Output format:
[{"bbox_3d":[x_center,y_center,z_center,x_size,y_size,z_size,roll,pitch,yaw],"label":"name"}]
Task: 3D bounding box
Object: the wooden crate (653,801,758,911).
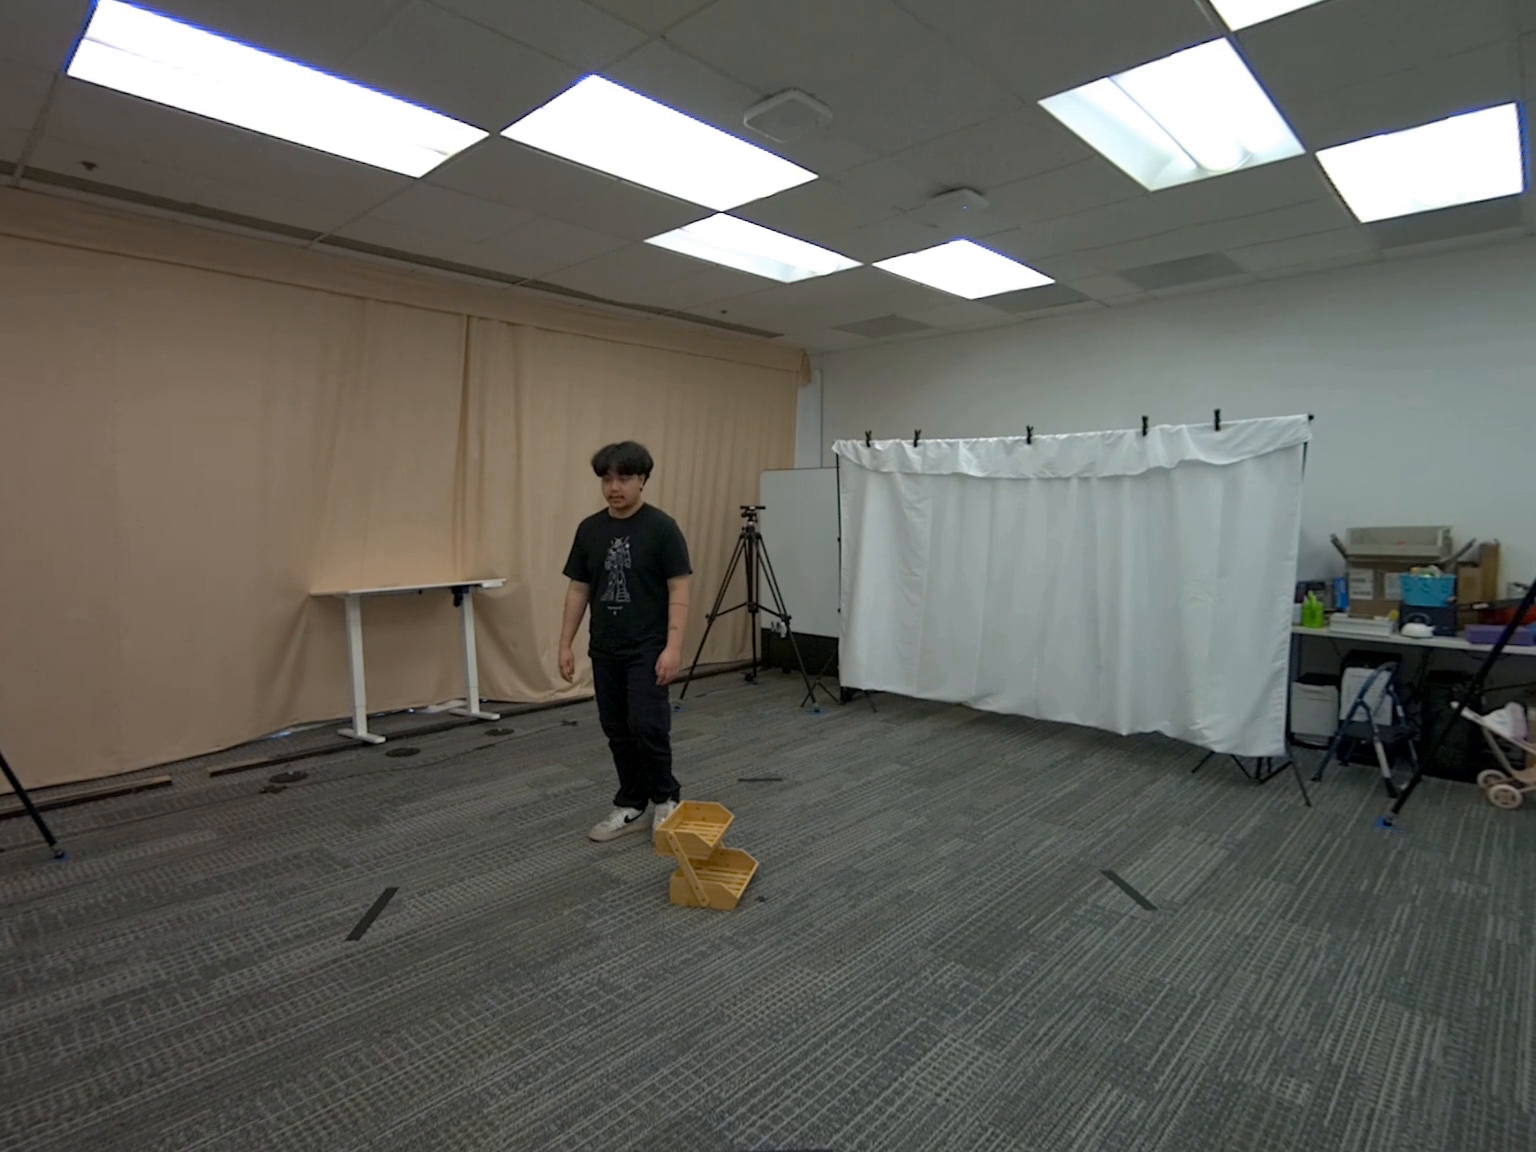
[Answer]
[{"bbox_3d":[-0.208,1.003,3.065,0.307,0.273,0.320,0,4,14],"label":"wooden crate"}]
